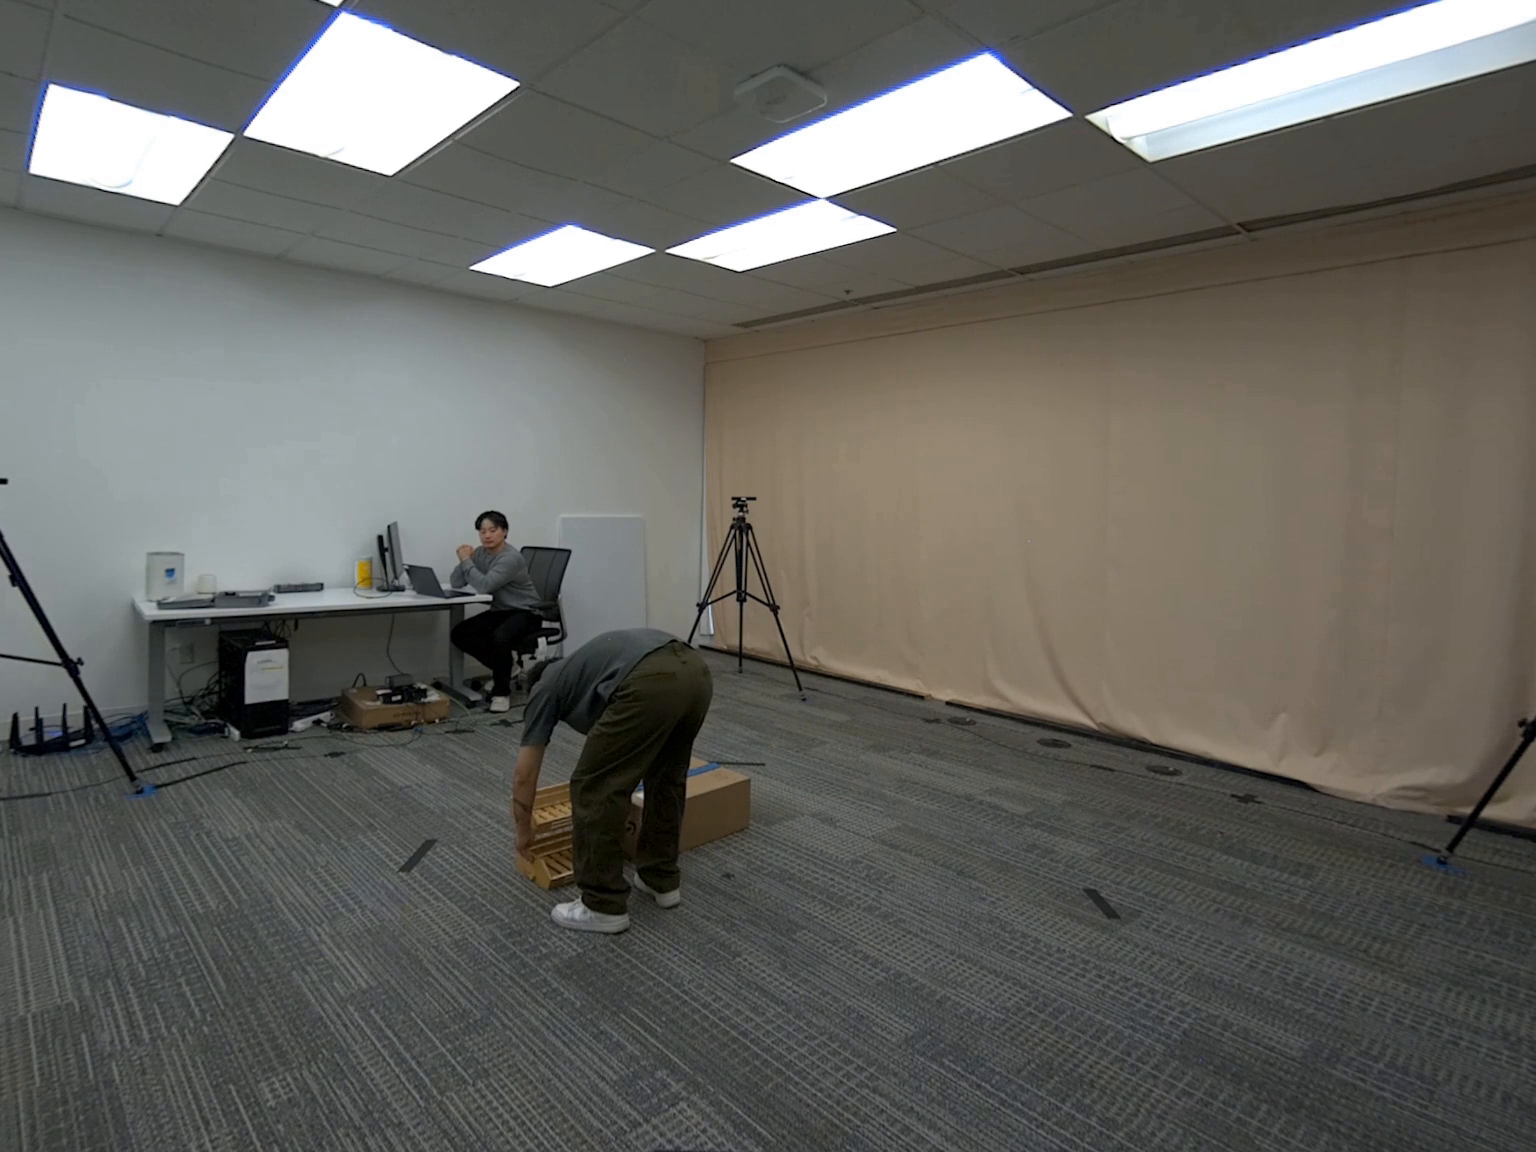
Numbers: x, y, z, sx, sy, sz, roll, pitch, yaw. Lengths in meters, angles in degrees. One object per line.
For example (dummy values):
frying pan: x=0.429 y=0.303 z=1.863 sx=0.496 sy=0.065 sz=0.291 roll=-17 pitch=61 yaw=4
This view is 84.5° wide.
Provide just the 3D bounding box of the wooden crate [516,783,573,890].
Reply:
wooden crate: x=-0.763 y=0.957 z=3.147 sx=0.317 sy=0.272 sz=0.310 roll=-3 pitch=6 yaw=-43
